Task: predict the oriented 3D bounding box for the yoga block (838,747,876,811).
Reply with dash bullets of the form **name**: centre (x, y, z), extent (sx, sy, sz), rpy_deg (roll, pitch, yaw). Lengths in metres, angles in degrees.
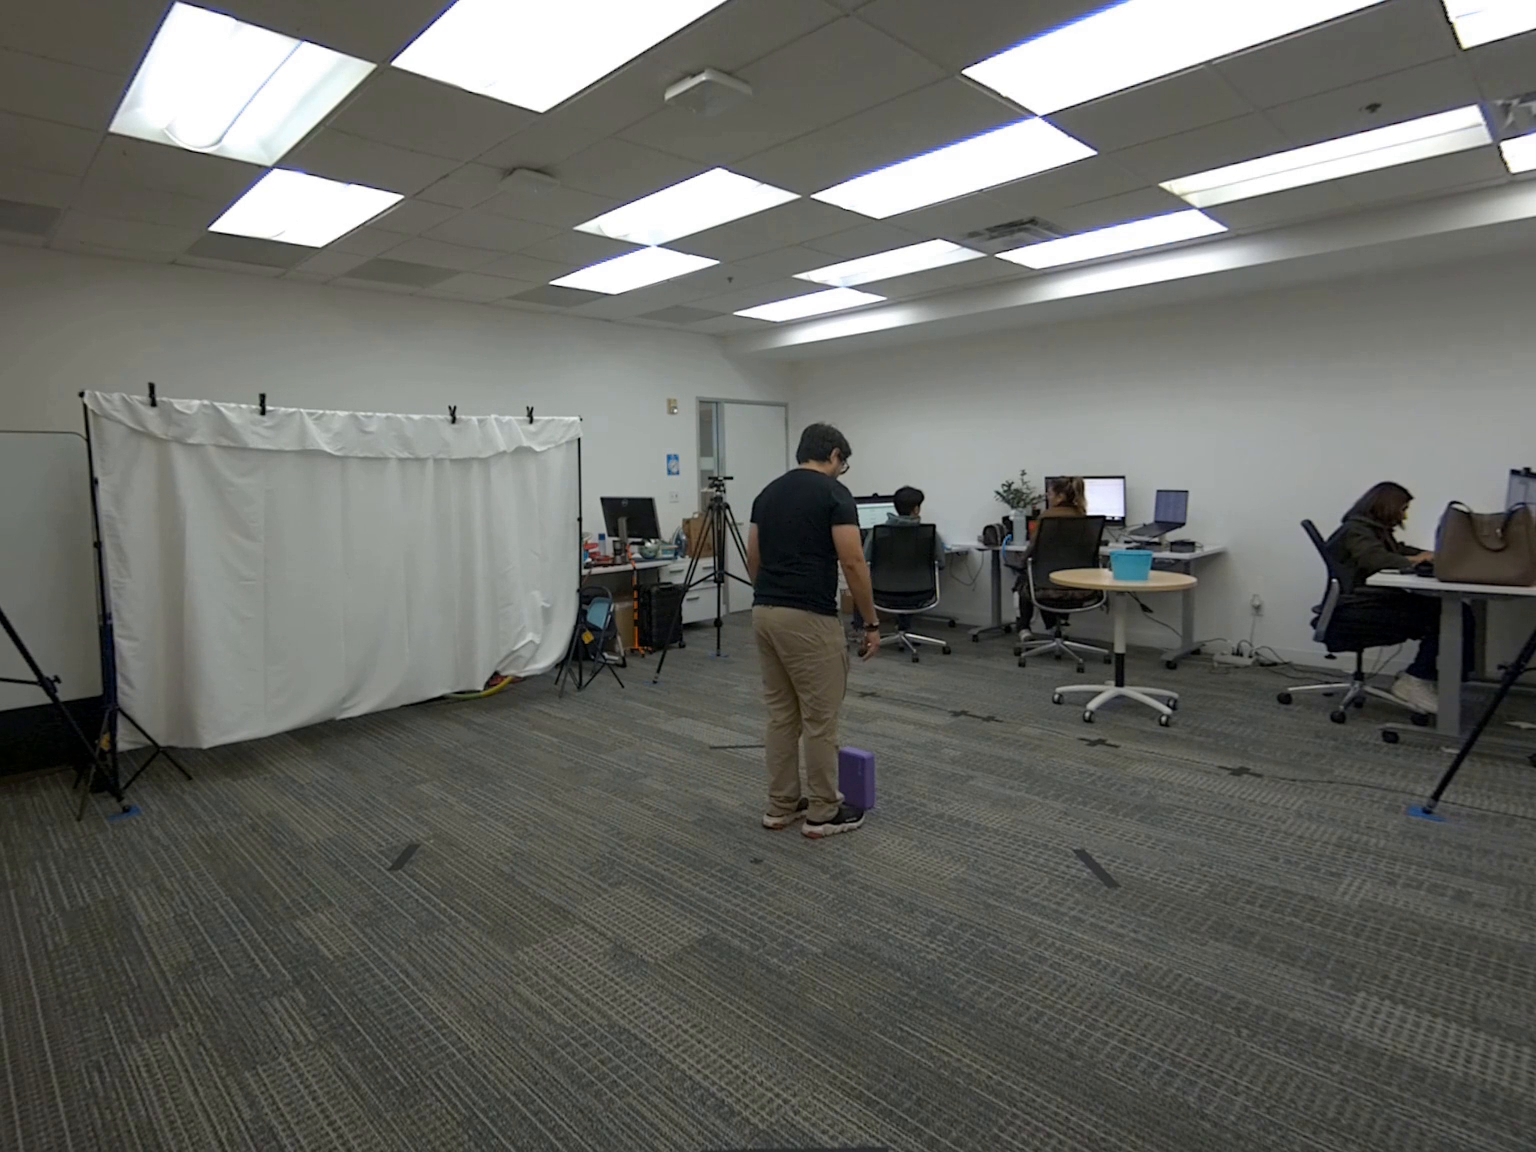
- **yoga block**: centre (0.376, 0.852, 3.622), extent (0.074, 0.228, 0.153), rpy_deg (-6, 6, -42)
